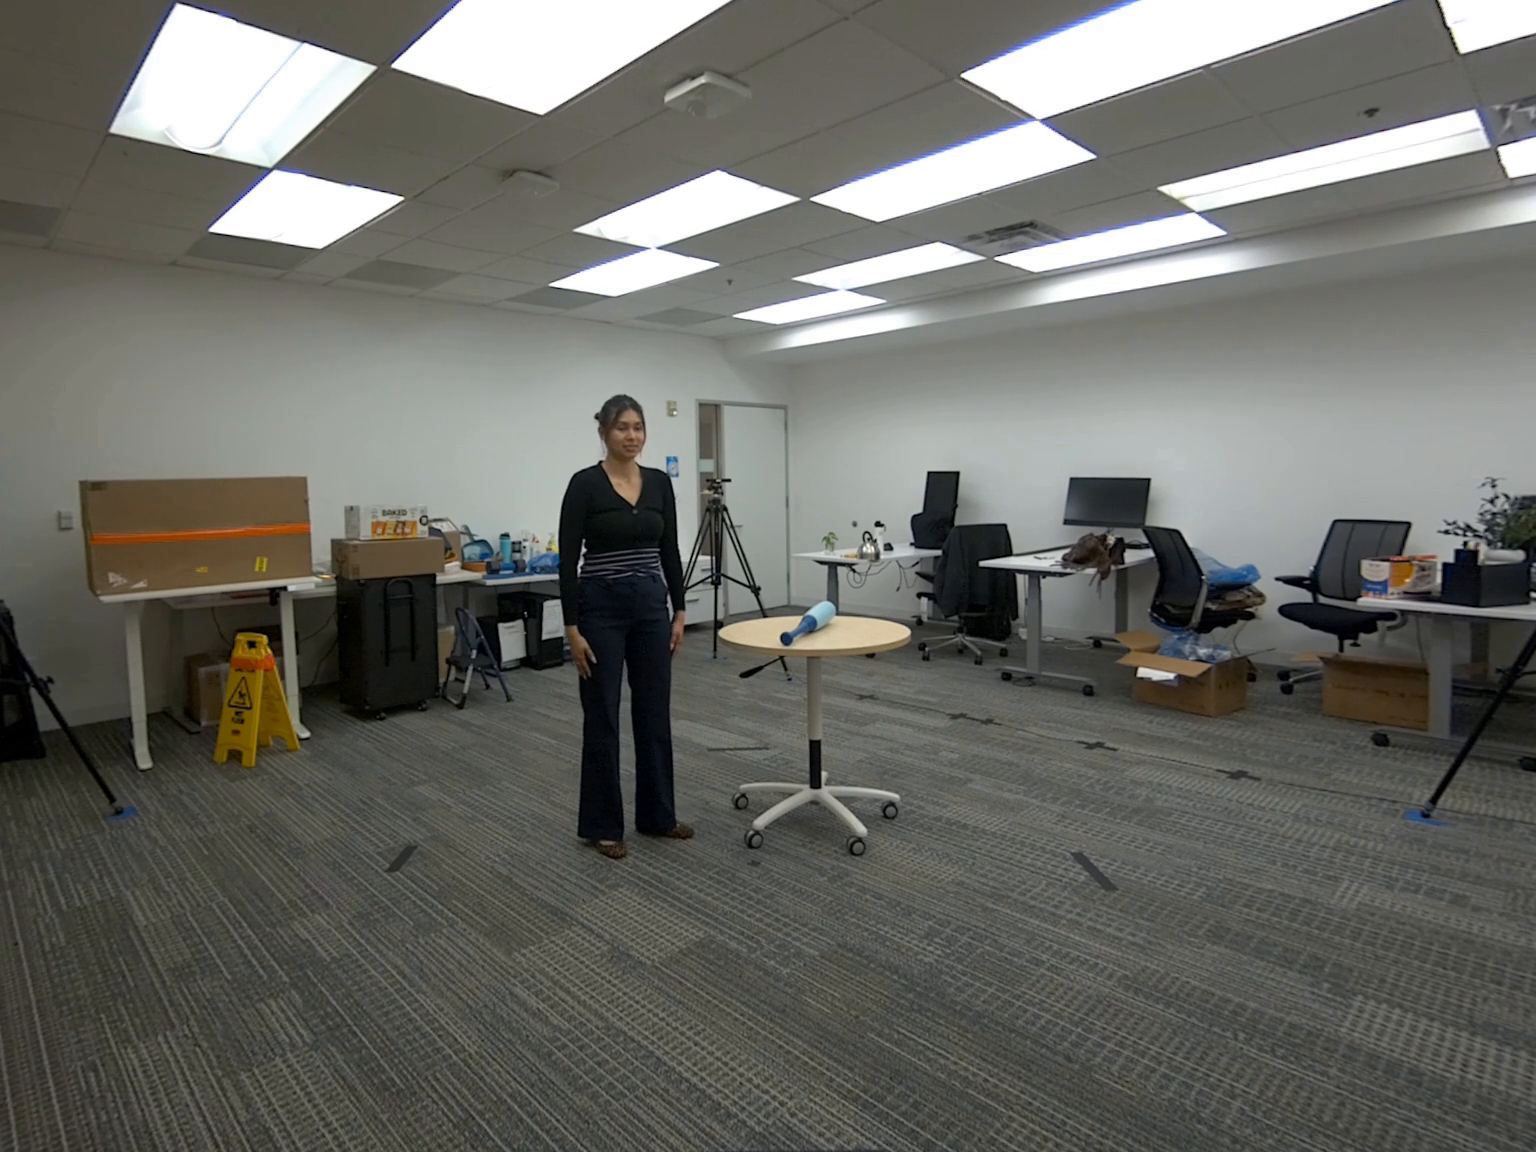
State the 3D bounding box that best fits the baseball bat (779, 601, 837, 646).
[{"bbox_3d":[0.152,0.192,3.373,0.091,0.088,0.536,1,10,21],"label":"baseball bat"}]
